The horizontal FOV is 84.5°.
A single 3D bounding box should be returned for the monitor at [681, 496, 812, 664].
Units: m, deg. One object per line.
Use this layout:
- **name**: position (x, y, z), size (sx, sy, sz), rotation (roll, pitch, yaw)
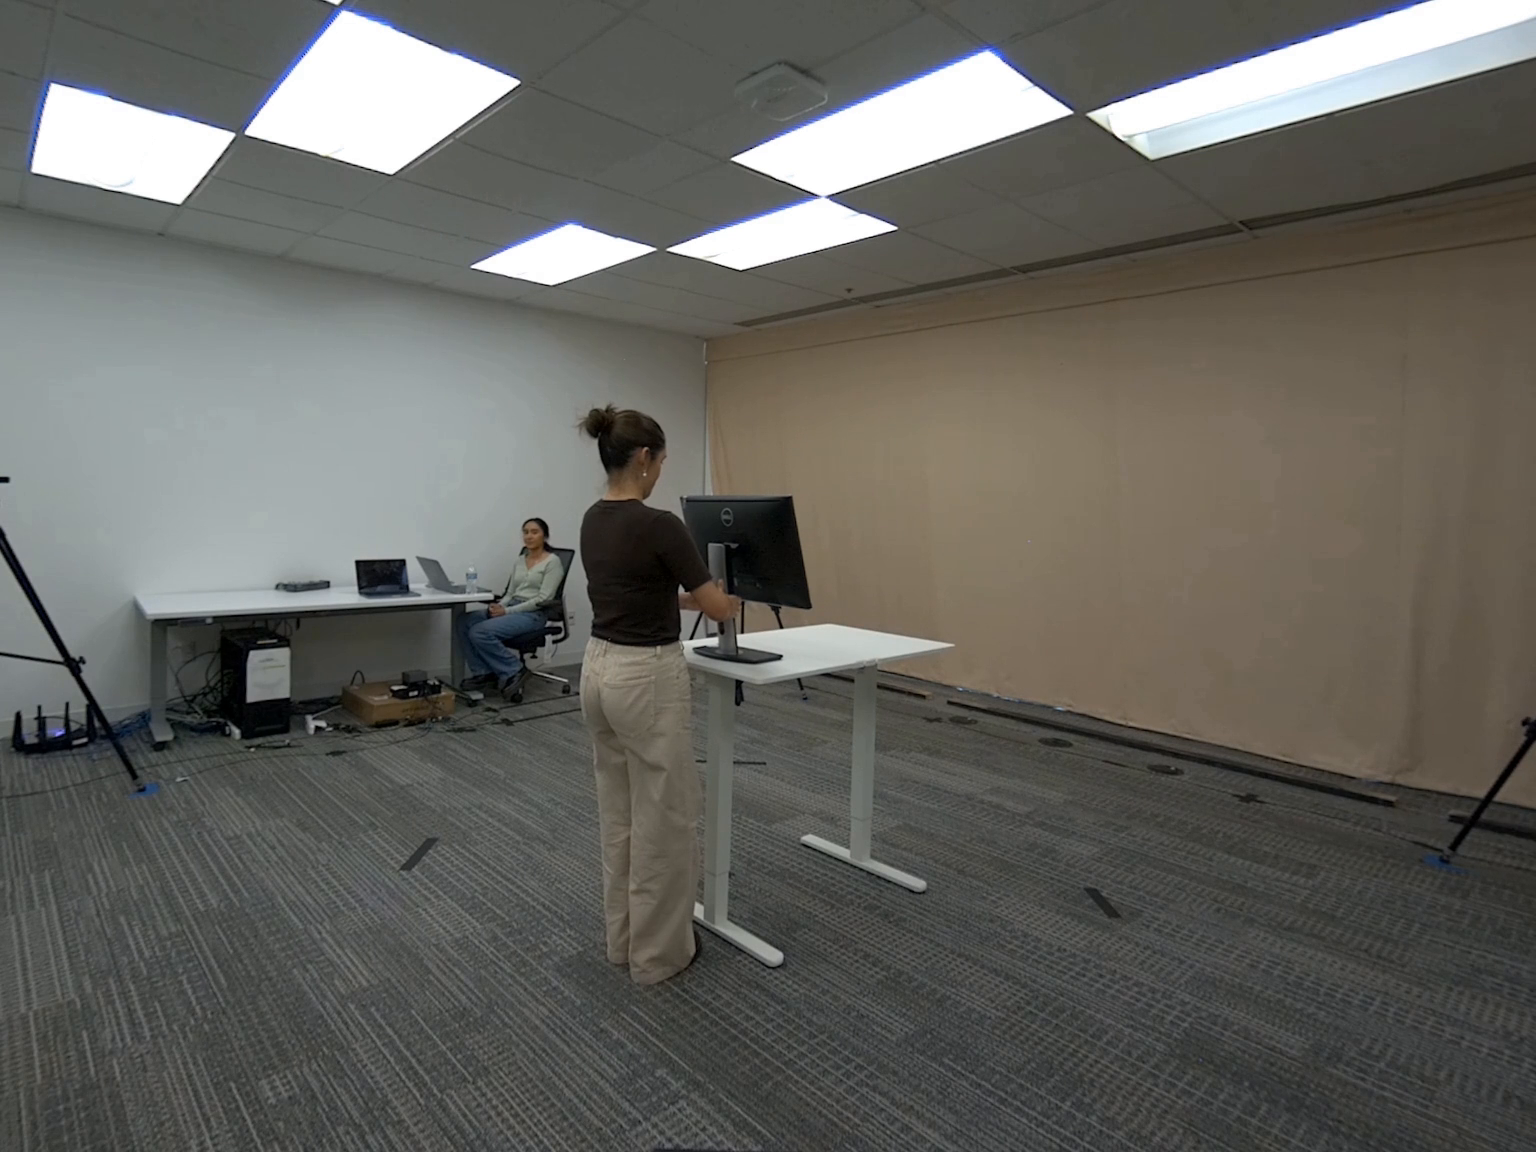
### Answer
- **monitor**: position (-0.106, 0.007, 2.676), size (0.183, 0.521, 0.553), rotation (-4, 6, -43)
